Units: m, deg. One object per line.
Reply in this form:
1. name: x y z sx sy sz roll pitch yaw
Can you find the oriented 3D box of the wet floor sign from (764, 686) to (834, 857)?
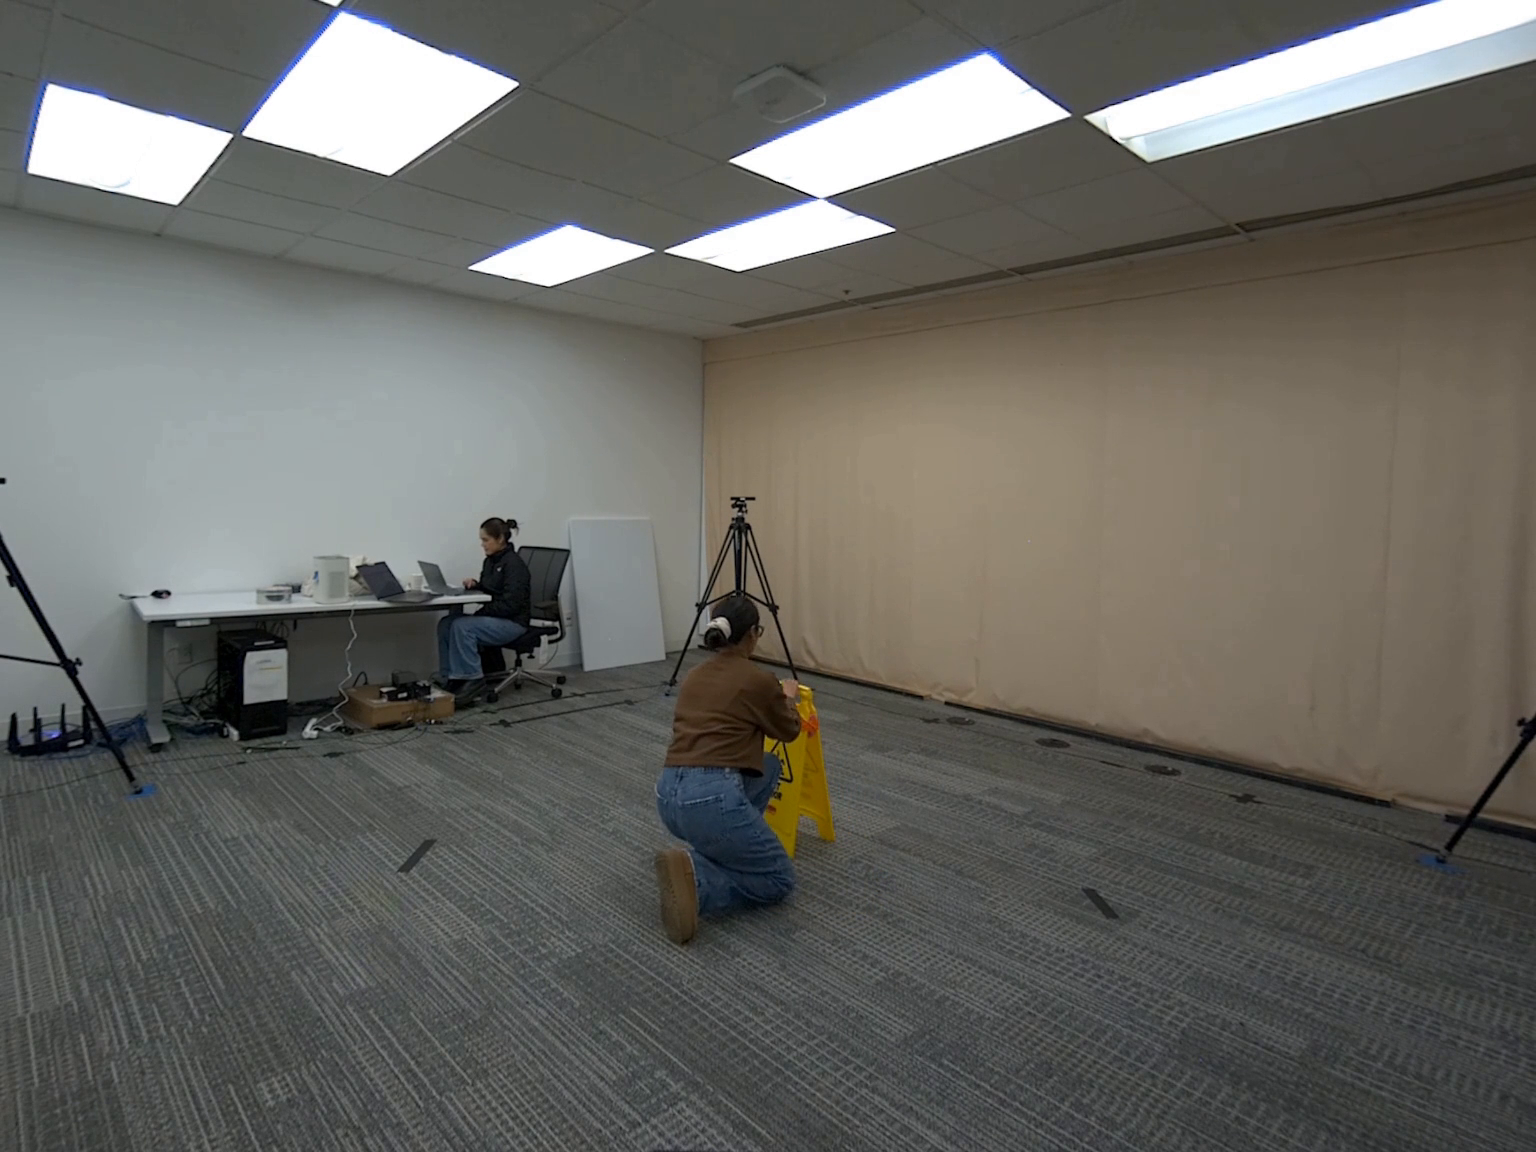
1. wet floor sign: 0.083 0.759 3.426 0.289 0.644 0.283 5 5 43
